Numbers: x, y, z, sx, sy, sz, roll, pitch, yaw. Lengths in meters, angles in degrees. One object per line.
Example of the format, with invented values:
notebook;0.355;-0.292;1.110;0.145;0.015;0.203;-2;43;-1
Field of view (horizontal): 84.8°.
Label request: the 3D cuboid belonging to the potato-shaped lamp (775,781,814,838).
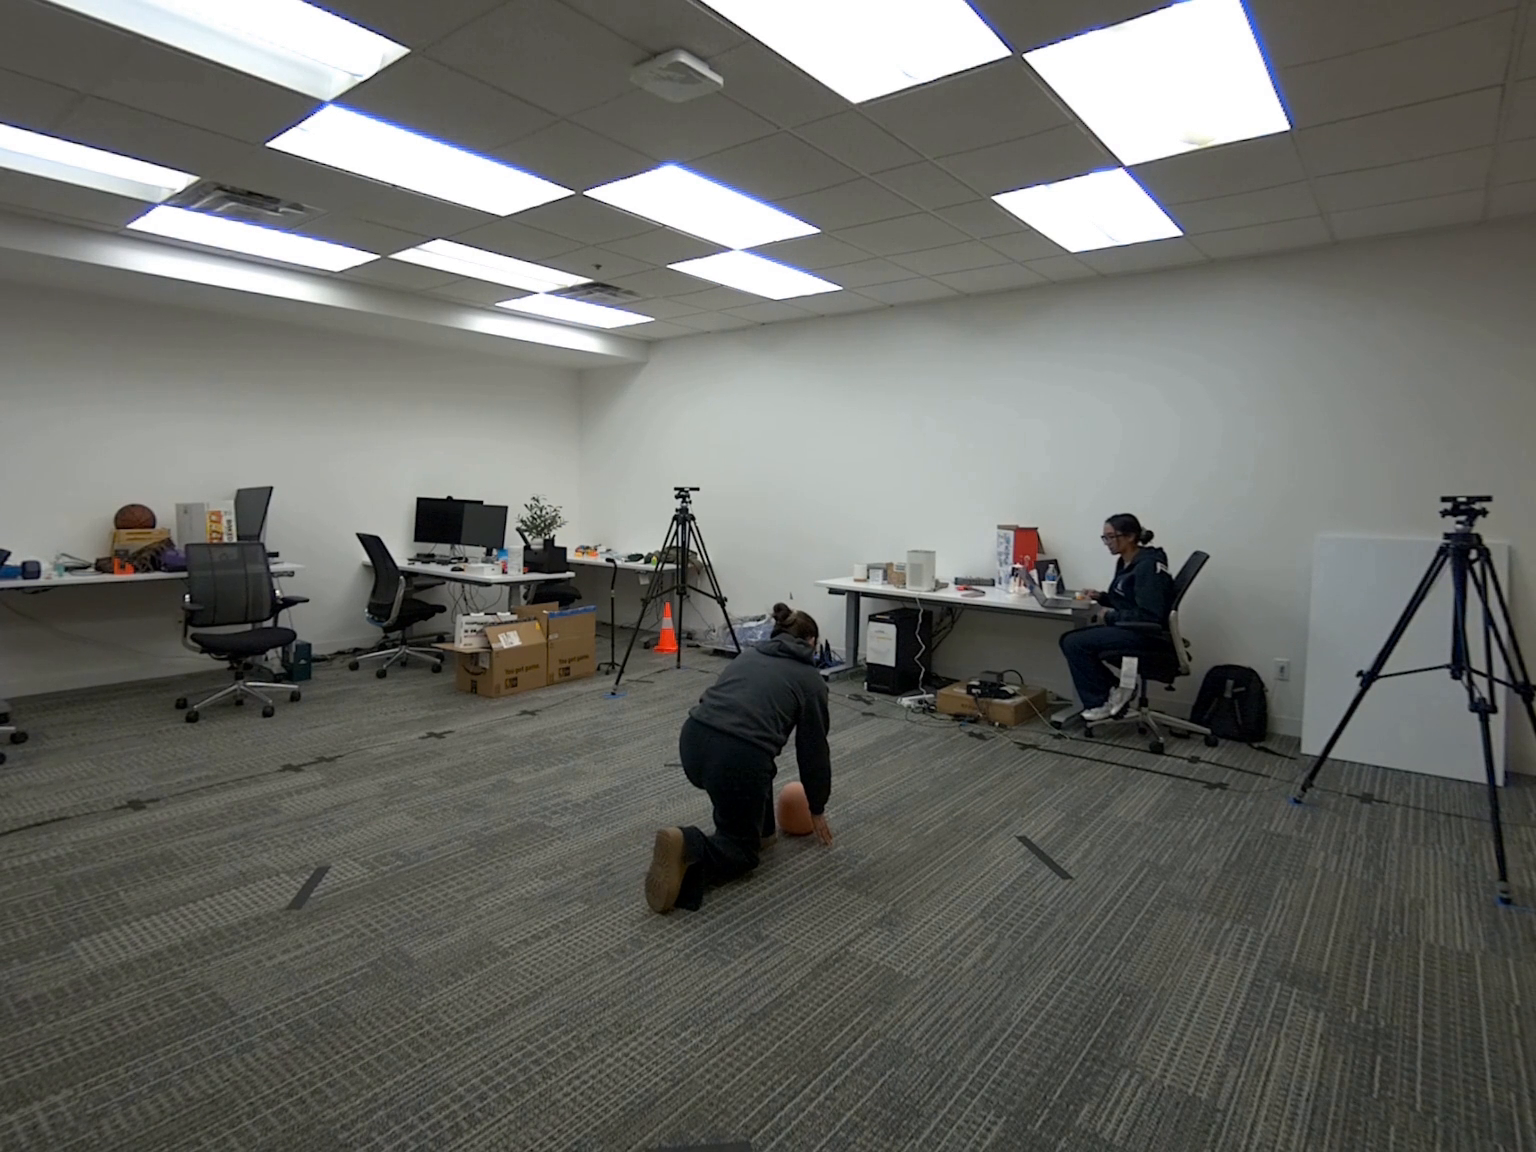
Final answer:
potato-shaped lamp;0.111;0.930;3.465;0.169;0.197;0.168;3;9;31
